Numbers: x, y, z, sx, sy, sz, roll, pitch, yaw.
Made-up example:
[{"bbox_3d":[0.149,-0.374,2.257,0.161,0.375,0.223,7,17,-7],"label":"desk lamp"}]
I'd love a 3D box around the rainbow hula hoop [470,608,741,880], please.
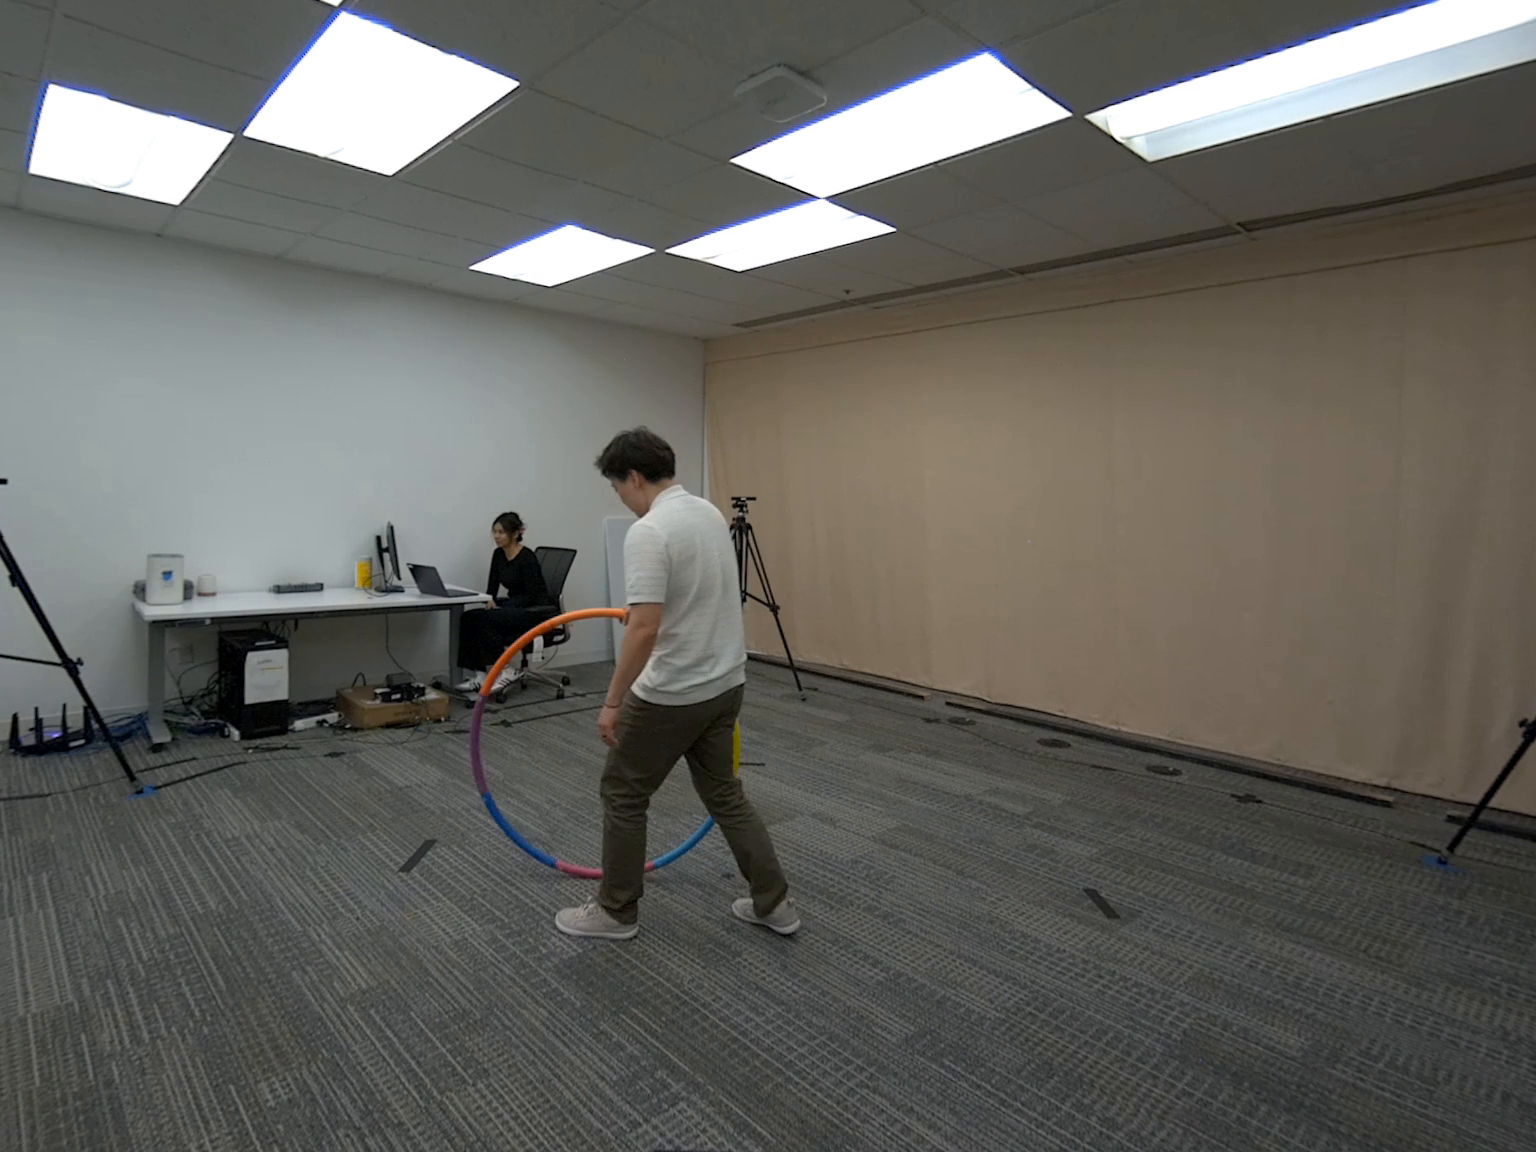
[{"bbox_3d":[-0.596,0.617,3.063,0.981,0.979,0.035,2,-1,4],"label":"rainbow hula hoop"}]
